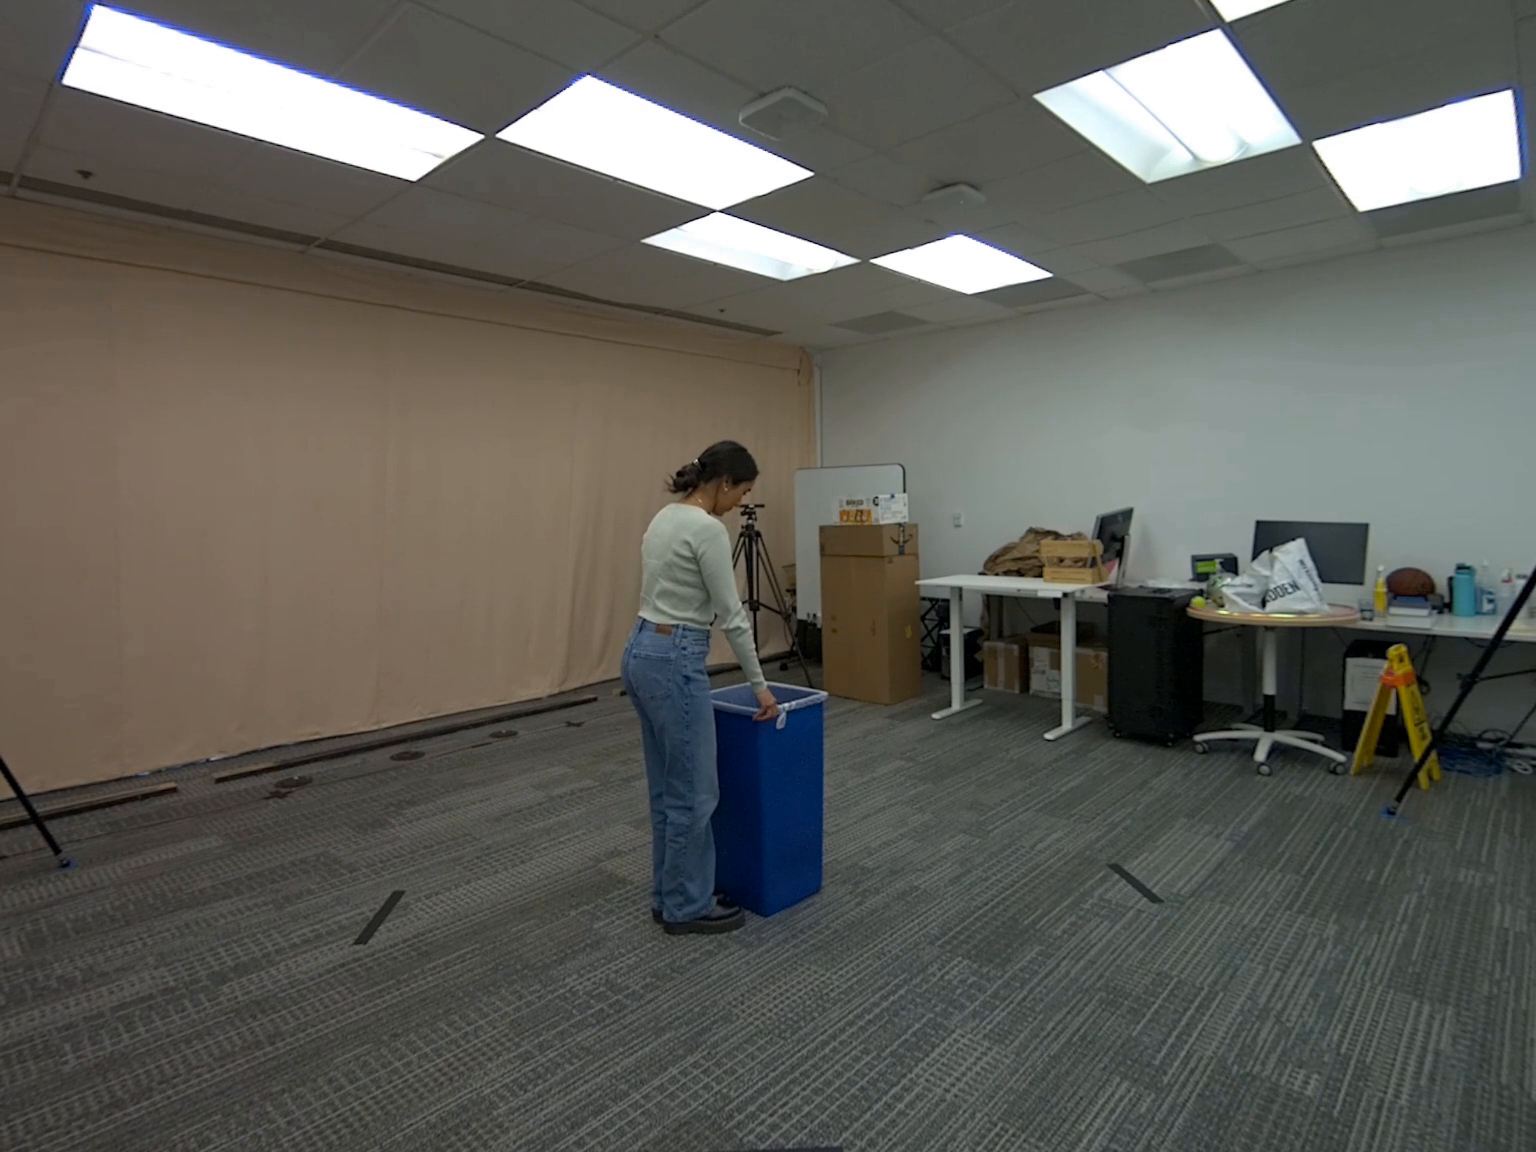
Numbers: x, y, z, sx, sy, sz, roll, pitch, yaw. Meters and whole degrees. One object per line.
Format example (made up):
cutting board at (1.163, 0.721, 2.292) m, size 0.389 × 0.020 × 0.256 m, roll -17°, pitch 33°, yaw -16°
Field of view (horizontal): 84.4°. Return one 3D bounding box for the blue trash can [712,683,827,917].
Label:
blue trash can at (-0.025, 0.776, 3.025) m, size 0.366 × 0.712 × 0.386 m, roll -5°, pitch 5°, yaw -44°
